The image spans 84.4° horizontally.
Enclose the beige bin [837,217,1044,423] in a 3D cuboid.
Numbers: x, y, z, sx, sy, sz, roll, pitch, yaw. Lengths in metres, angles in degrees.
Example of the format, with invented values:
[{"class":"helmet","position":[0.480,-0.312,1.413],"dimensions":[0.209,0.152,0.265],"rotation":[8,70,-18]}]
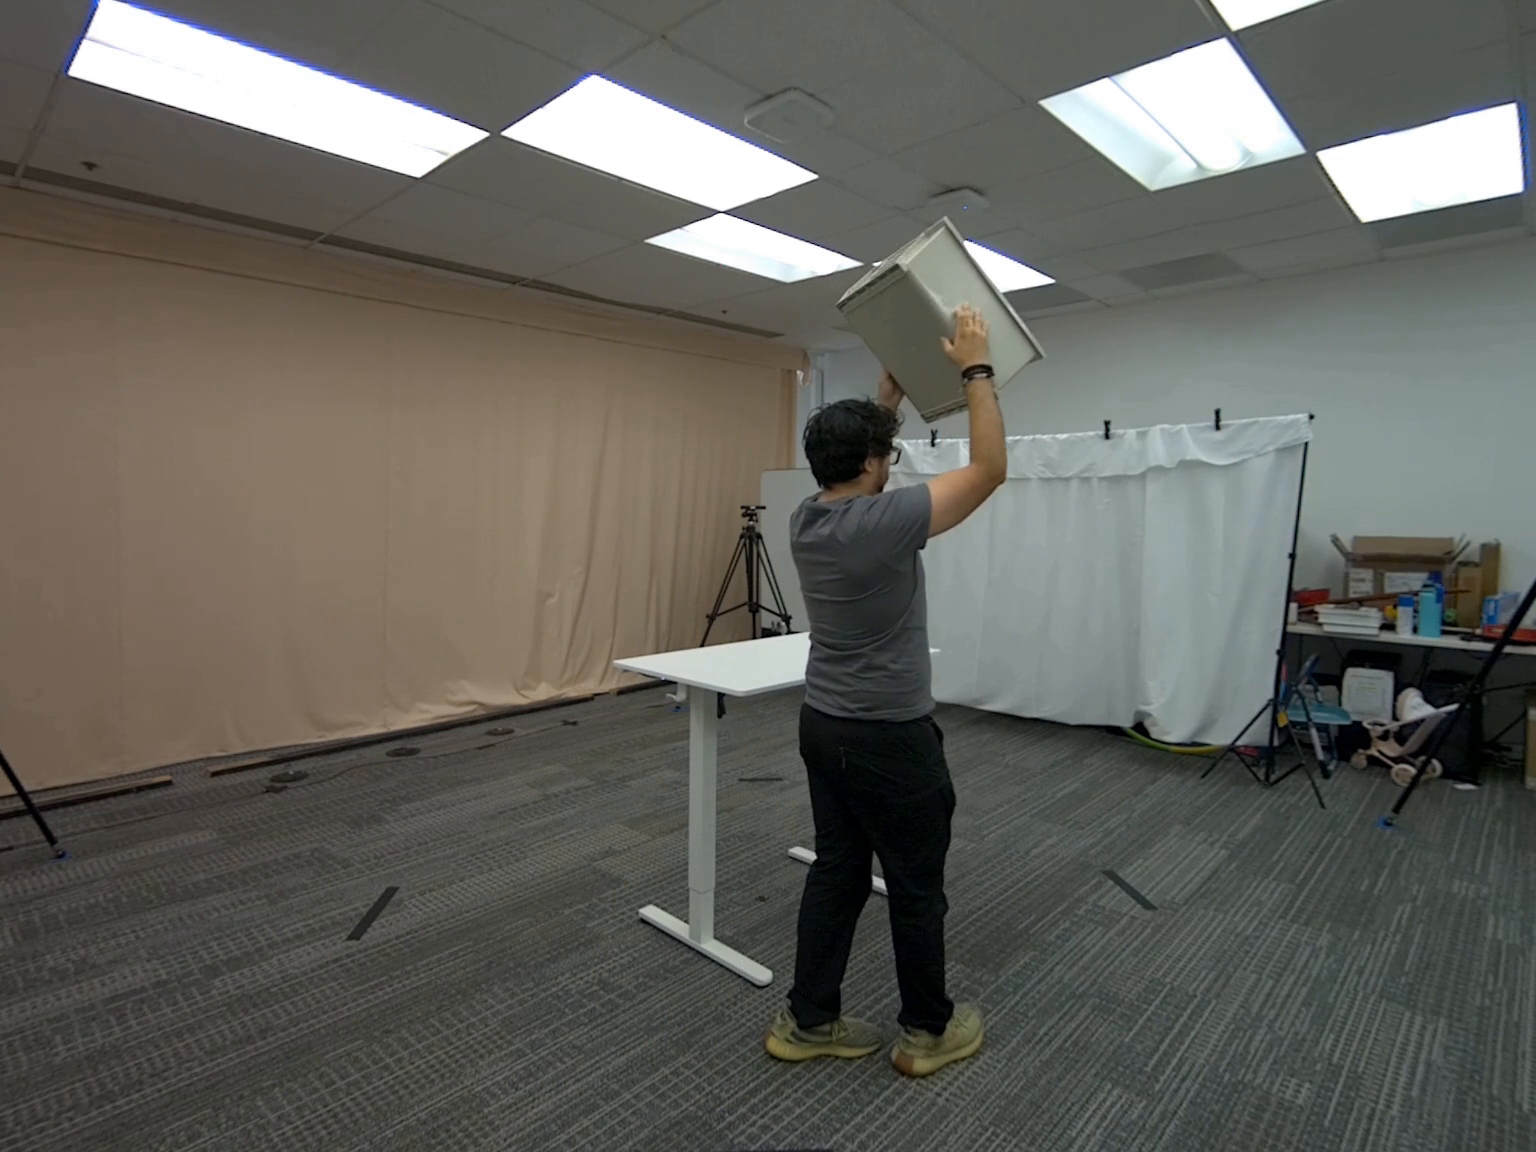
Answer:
[{"class":"beige bin","position":[0.427,-0.637,2.183],"dimensions":[0.188,0.417,0.385],"rotation":[-43,12,-17]}]
